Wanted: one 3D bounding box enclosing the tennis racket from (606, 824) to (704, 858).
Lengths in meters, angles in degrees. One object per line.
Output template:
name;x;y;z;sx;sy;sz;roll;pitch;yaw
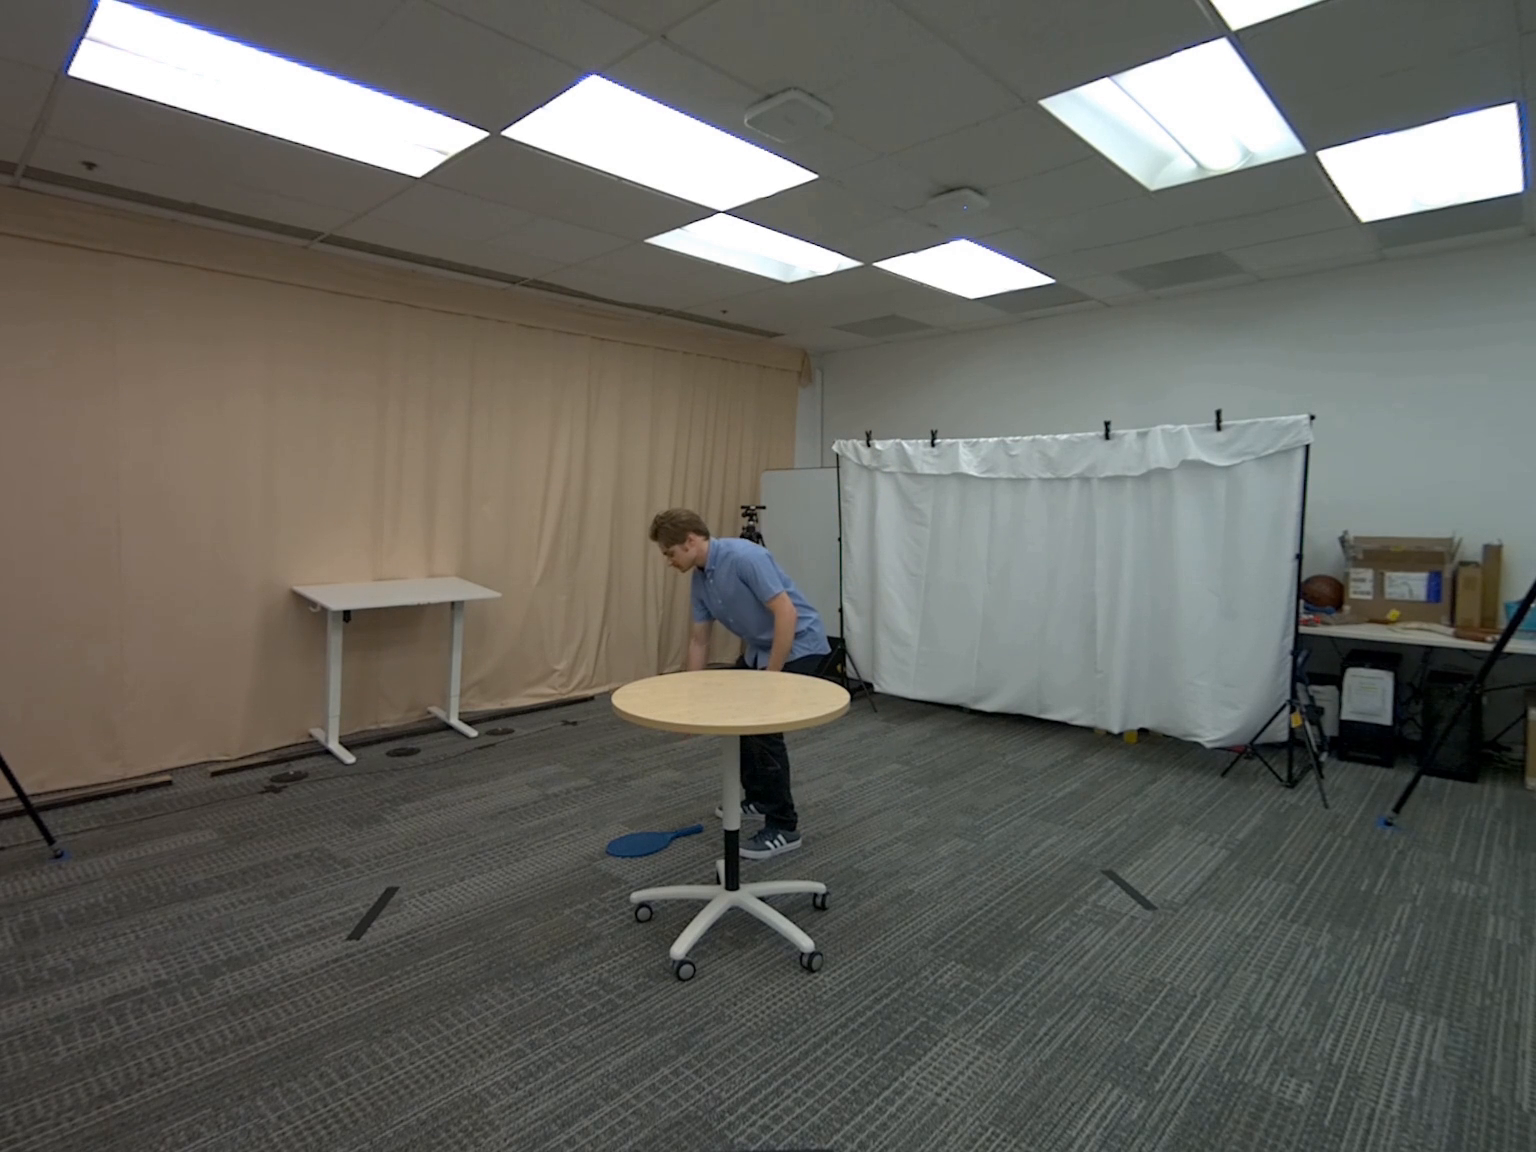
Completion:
tennis racket;-0.469;1.093;3.493;0.421;0.031;0.220;-5;6;-33
